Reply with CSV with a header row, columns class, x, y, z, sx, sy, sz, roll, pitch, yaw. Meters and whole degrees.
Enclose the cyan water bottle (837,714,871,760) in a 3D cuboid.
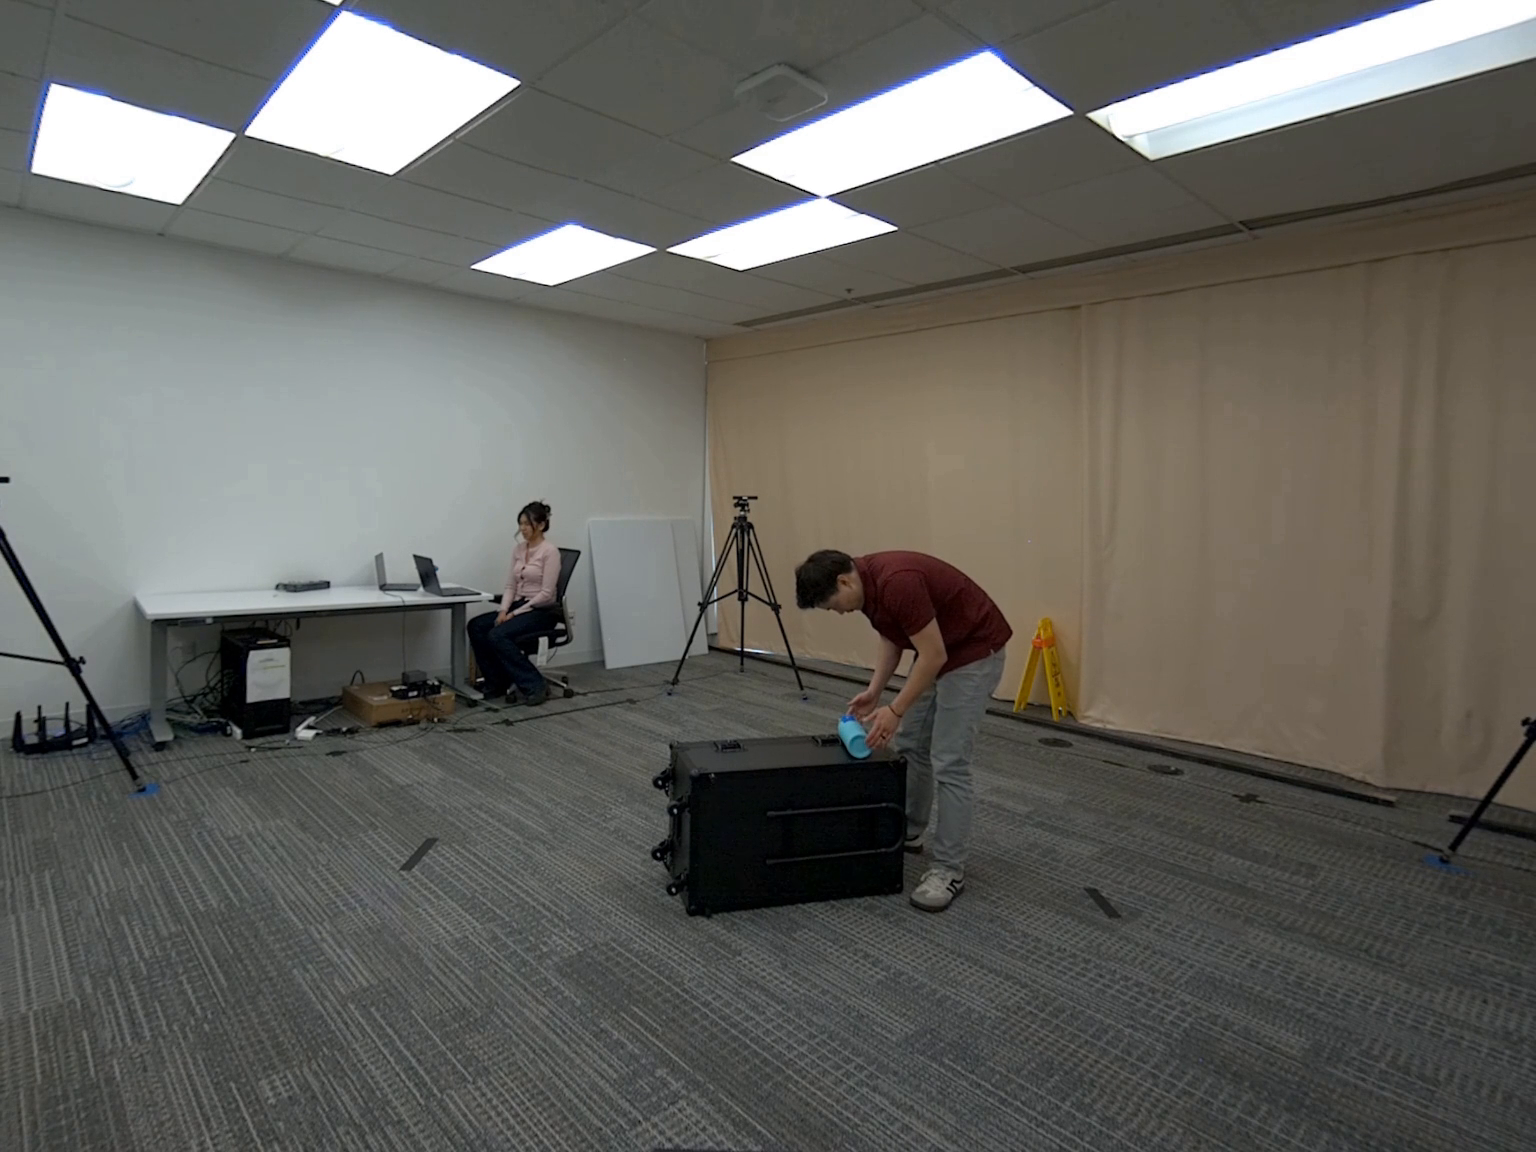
class,x,y,z,sx,sy,sz,roll,pitch,yaw
cyan water bottle,0.308,0.583,3.091,0.092,0.092,0.284,1,5,-2
